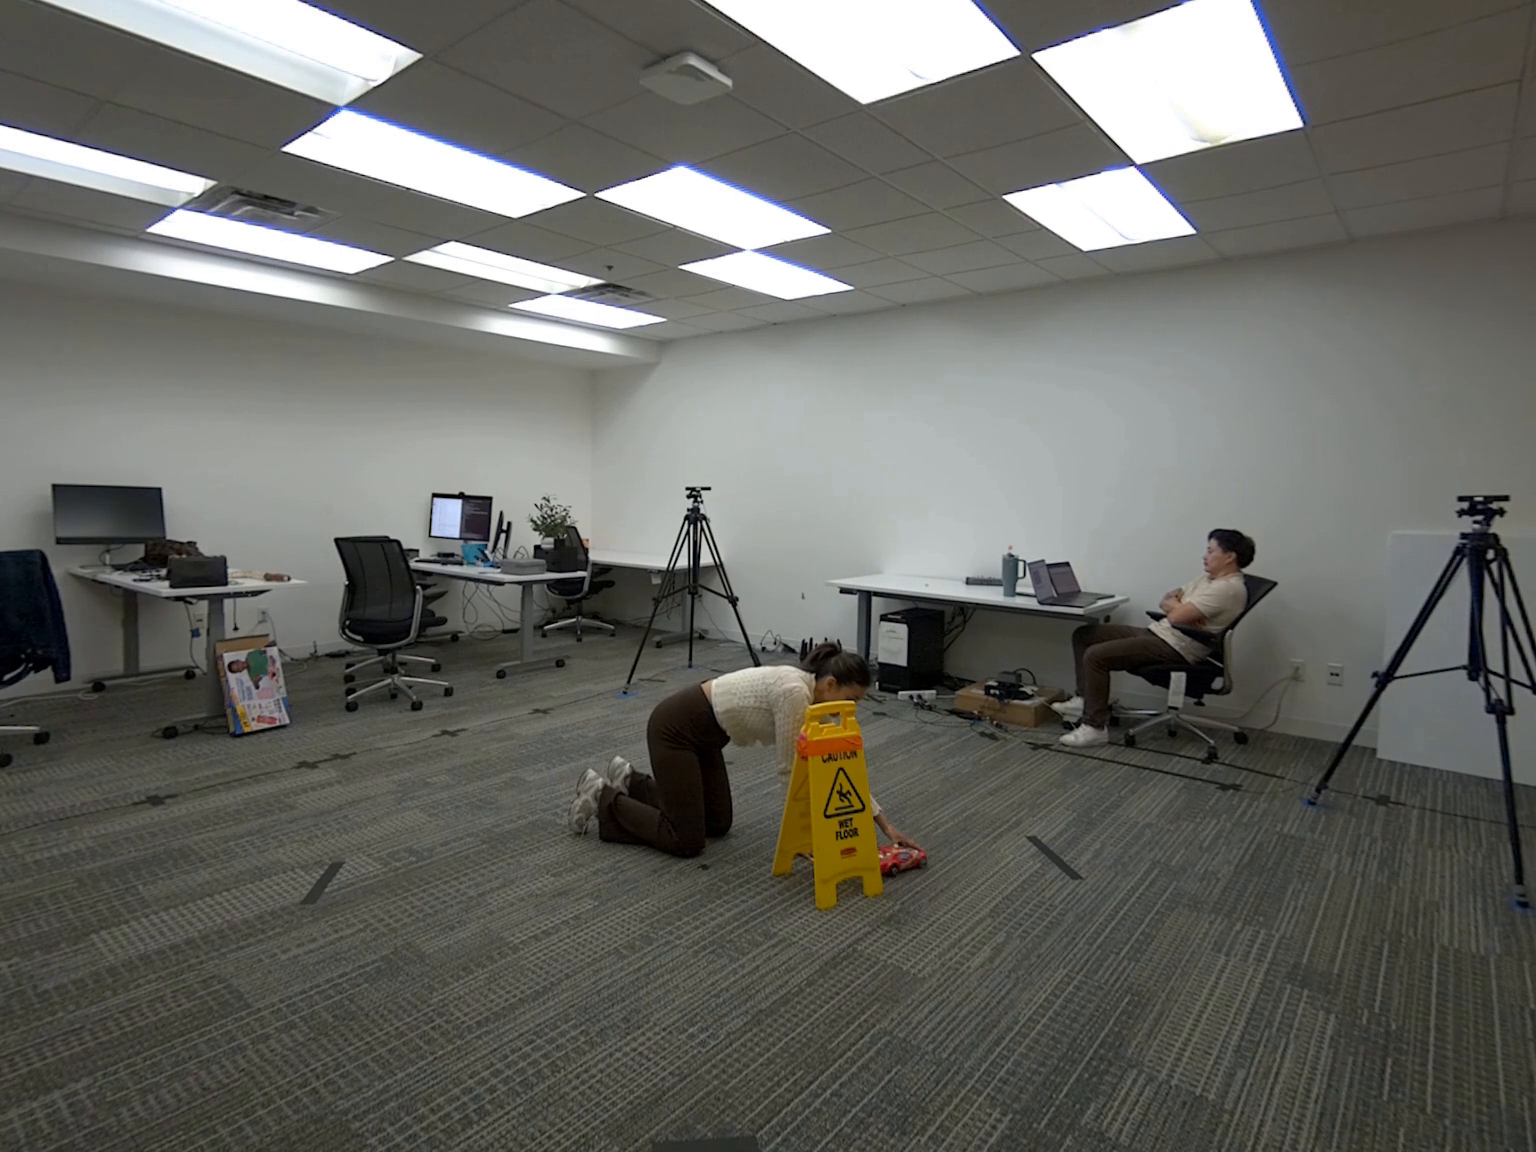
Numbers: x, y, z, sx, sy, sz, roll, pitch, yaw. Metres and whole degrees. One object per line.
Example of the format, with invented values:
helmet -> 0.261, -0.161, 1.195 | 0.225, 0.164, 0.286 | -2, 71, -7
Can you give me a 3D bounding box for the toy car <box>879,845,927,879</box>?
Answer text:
toy car -> 0.429, 1.050, 3.119 | 0.247, 0.083, 0.134 | 10, 1, -29
